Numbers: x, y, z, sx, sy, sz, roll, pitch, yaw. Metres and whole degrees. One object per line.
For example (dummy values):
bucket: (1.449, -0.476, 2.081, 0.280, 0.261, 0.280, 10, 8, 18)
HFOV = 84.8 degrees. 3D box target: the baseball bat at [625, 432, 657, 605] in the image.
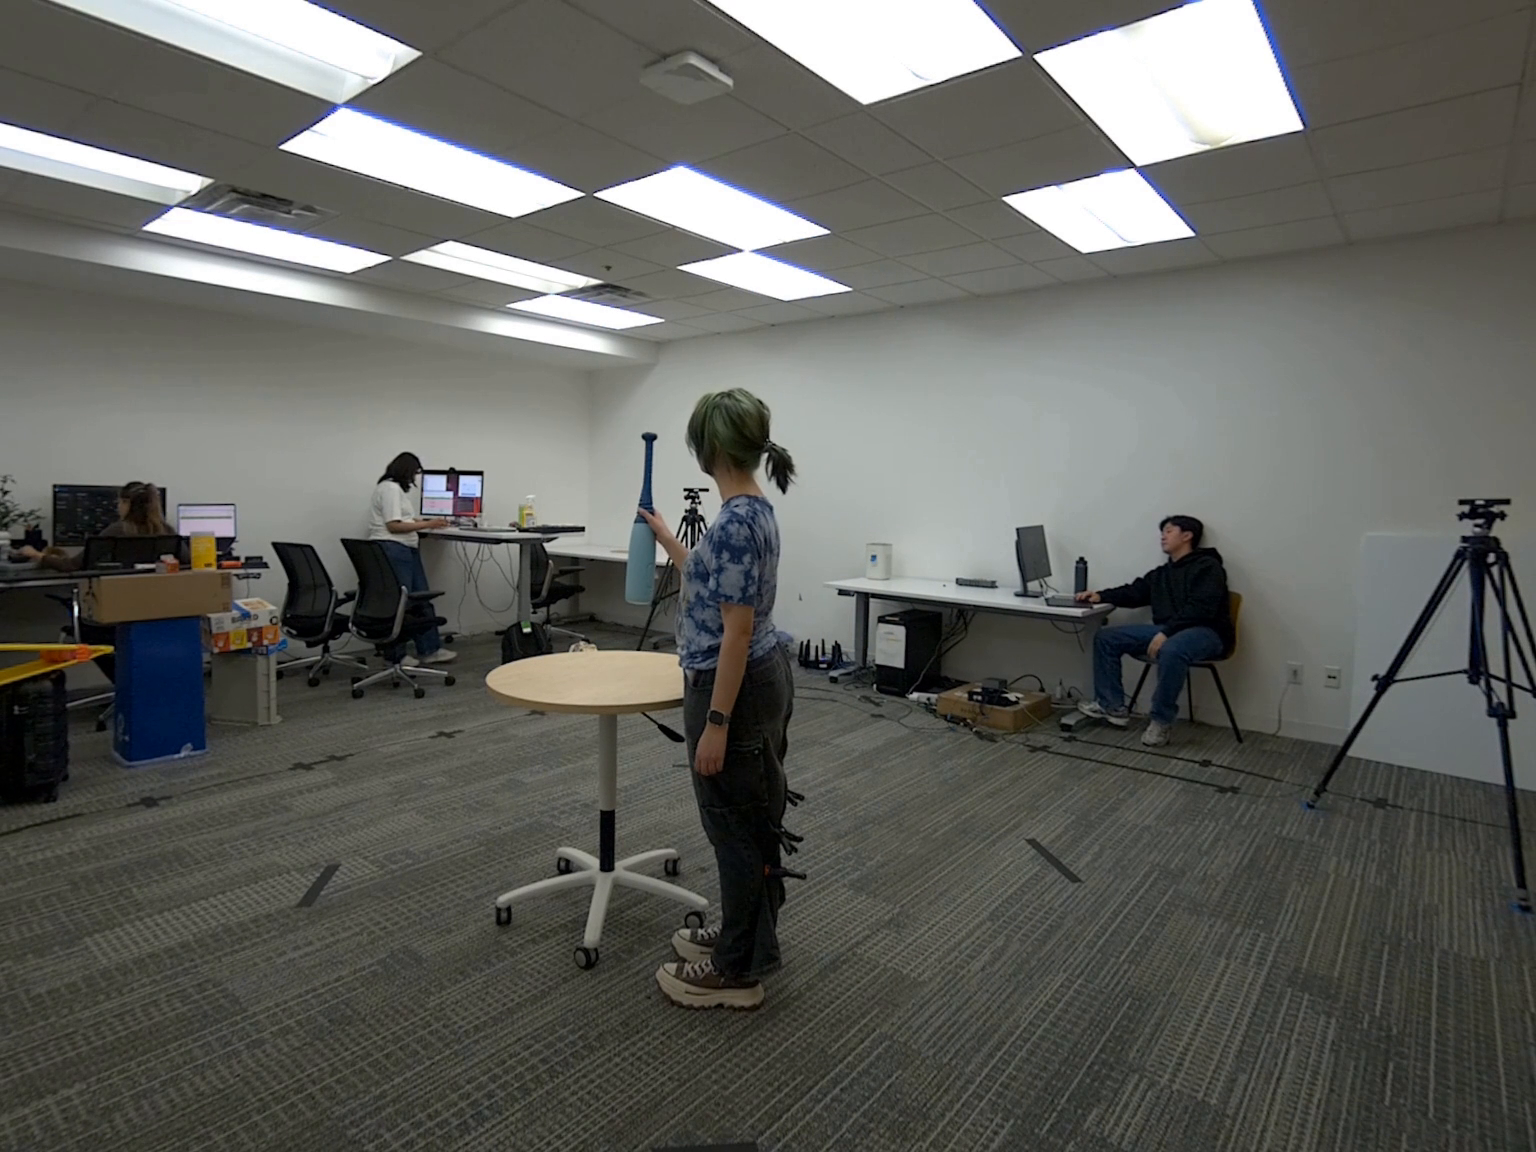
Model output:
baseball bat: (-0.404, -0.185, 2.677, 0.089, 0.545, 0.089, 1, -3, -2)
